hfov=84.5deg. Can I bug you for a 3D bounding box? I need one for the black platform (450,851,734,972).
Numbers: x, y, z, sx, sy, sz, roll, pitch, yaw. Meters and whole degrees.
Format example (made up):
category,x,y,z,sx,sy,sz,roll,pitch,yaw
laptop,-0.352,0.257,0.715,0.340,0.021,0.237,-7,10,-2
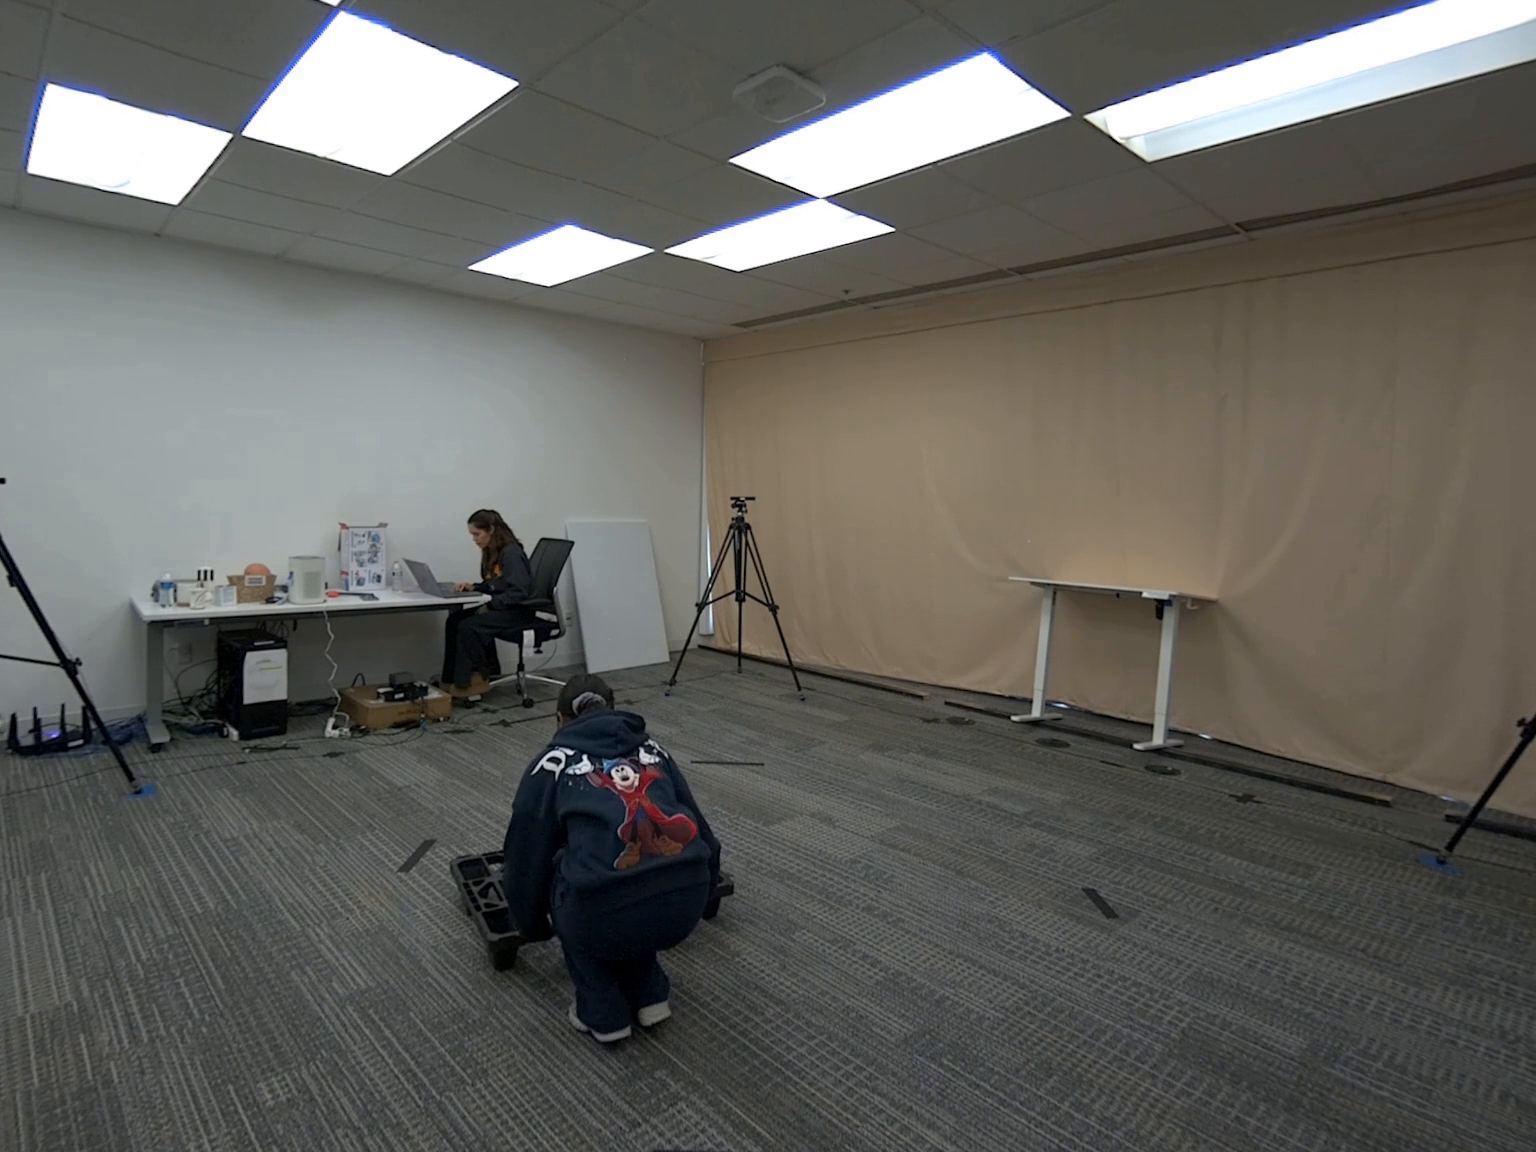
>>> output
category,x,y,z,sx,sy,sz,roll,pitch,yaw
black platform,-0.594,1.057,2.819,0.789,0.143,0.619,-2,6,-30
